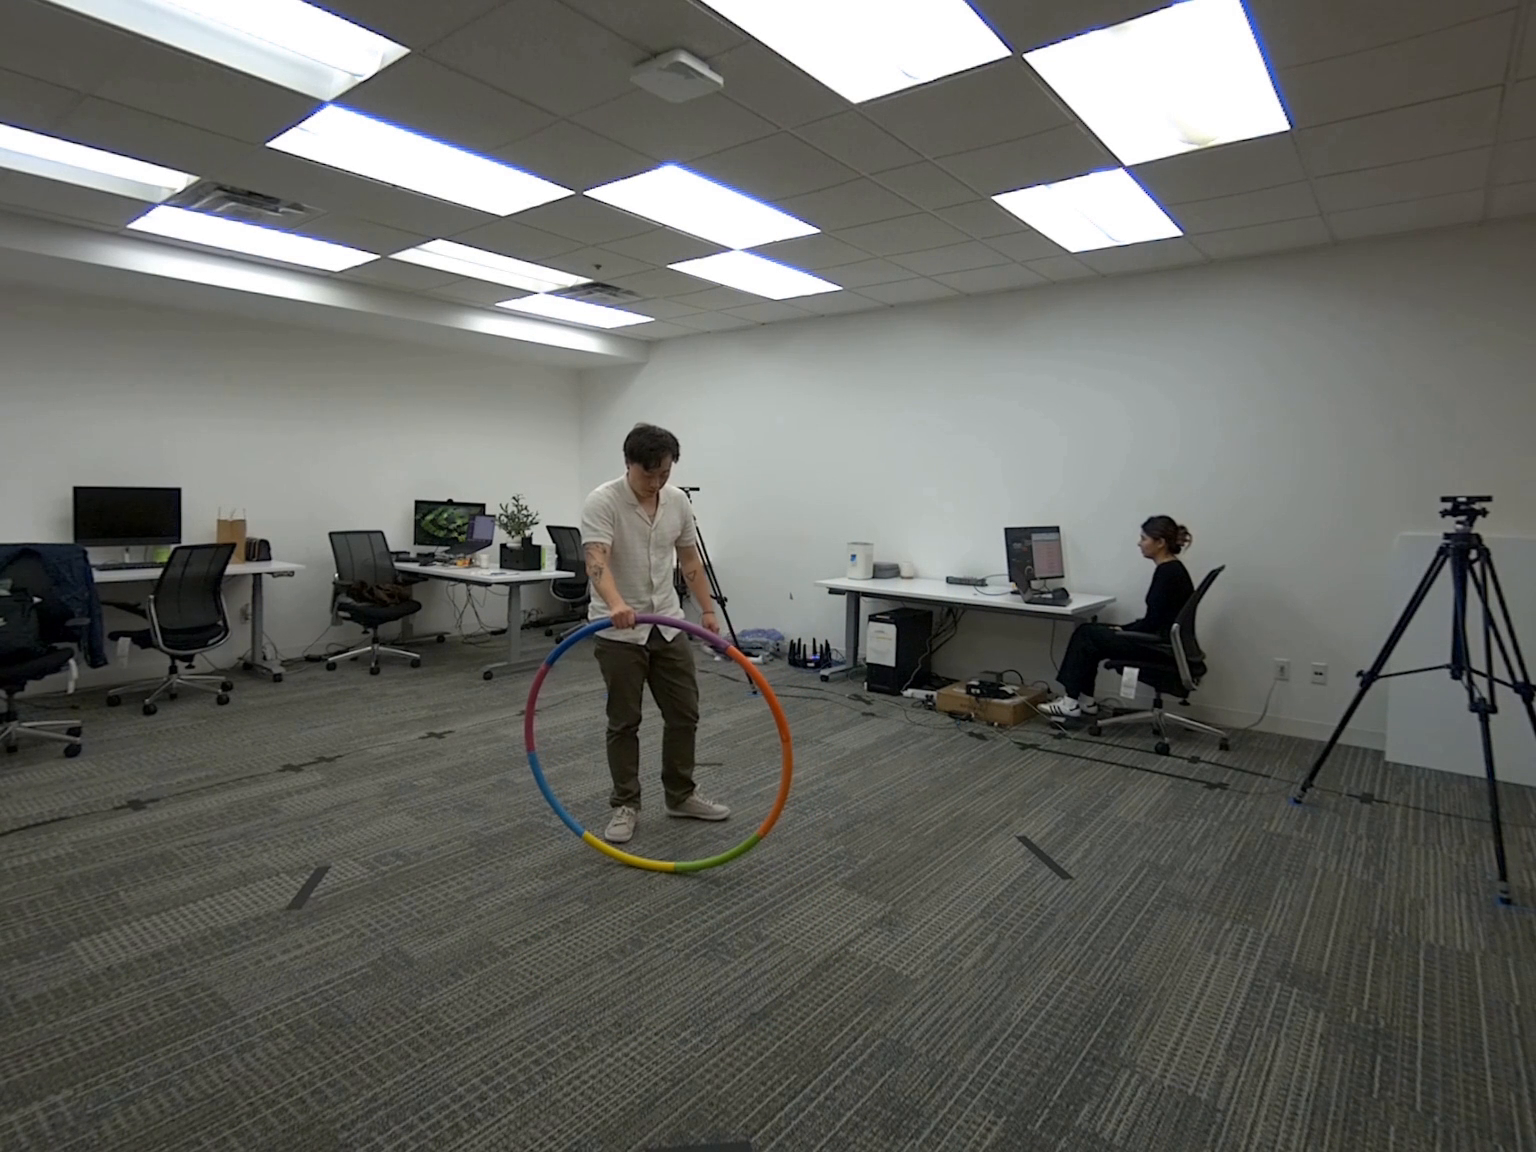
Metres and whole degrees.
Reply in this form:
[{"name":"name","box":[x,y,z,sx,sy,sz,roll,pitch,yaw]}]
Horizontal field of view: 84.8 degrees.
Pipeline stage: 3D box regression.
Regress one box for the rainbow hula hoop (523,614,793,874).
[{"name":"rainbow hula hoop","box":[-0.417,0.601,3.008,0.996,0.968,0.035,2,11,16]}]
